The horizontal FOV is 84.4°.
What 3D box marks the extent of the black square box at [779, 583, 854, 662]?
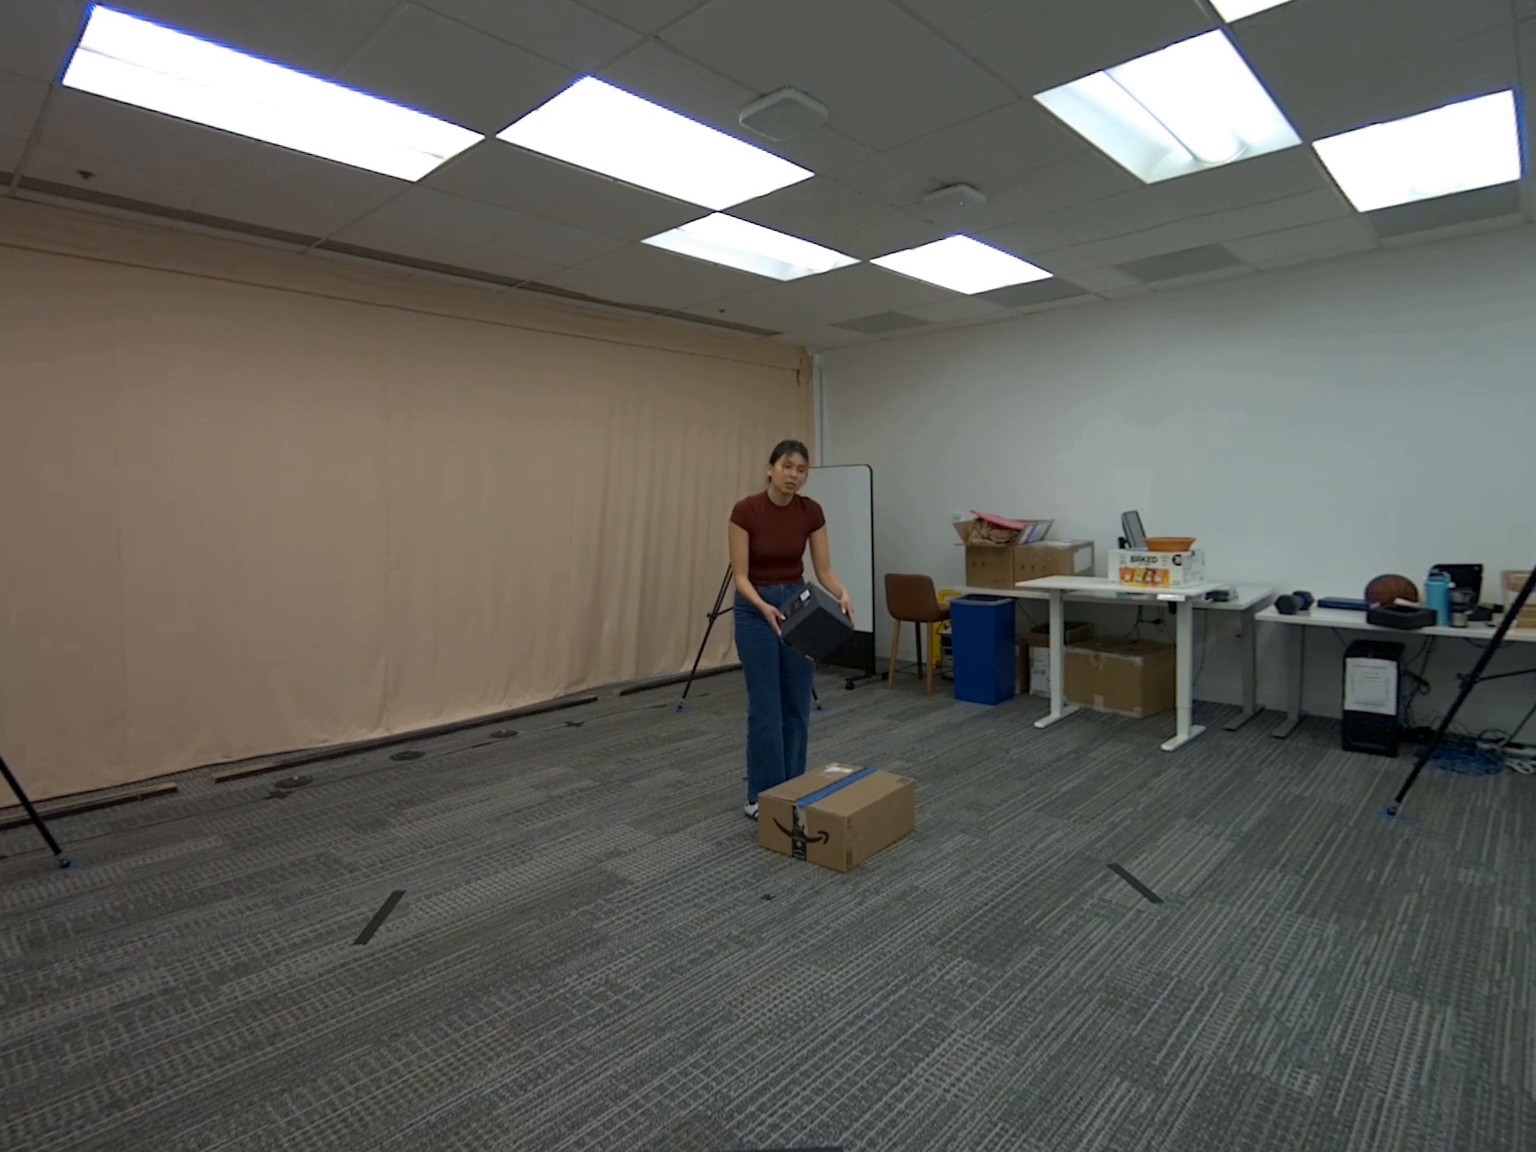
[{"bbox_3d":[0.183,0.195,3.426,0.220,0.218,0.160,37,22,-33],"label":"black square box"}]
